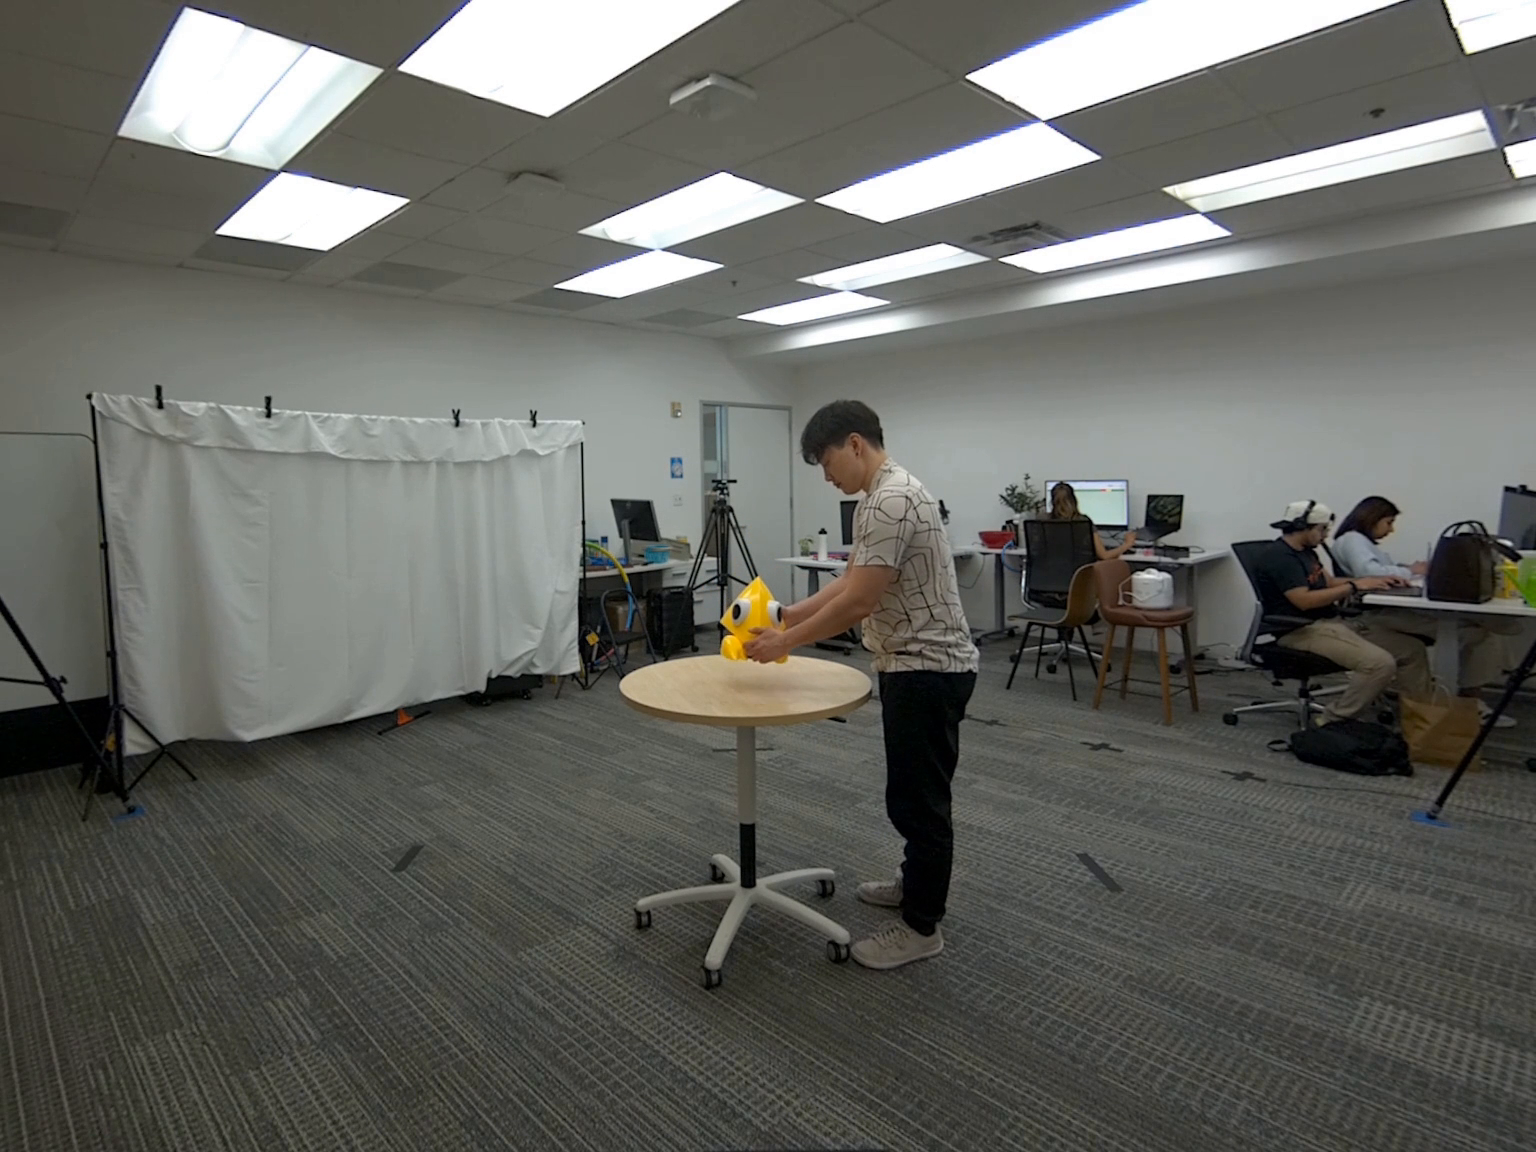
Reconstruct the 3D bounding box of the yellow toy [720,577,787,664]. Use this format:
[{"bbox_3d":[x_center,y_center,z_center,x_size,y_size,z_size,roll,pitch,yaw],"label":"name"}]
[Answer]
[{"bbox_3d":[-0.024,0.123,2.531,0.204,0.230,0.195,4,5,-6],"label":"yellow toy"}]
